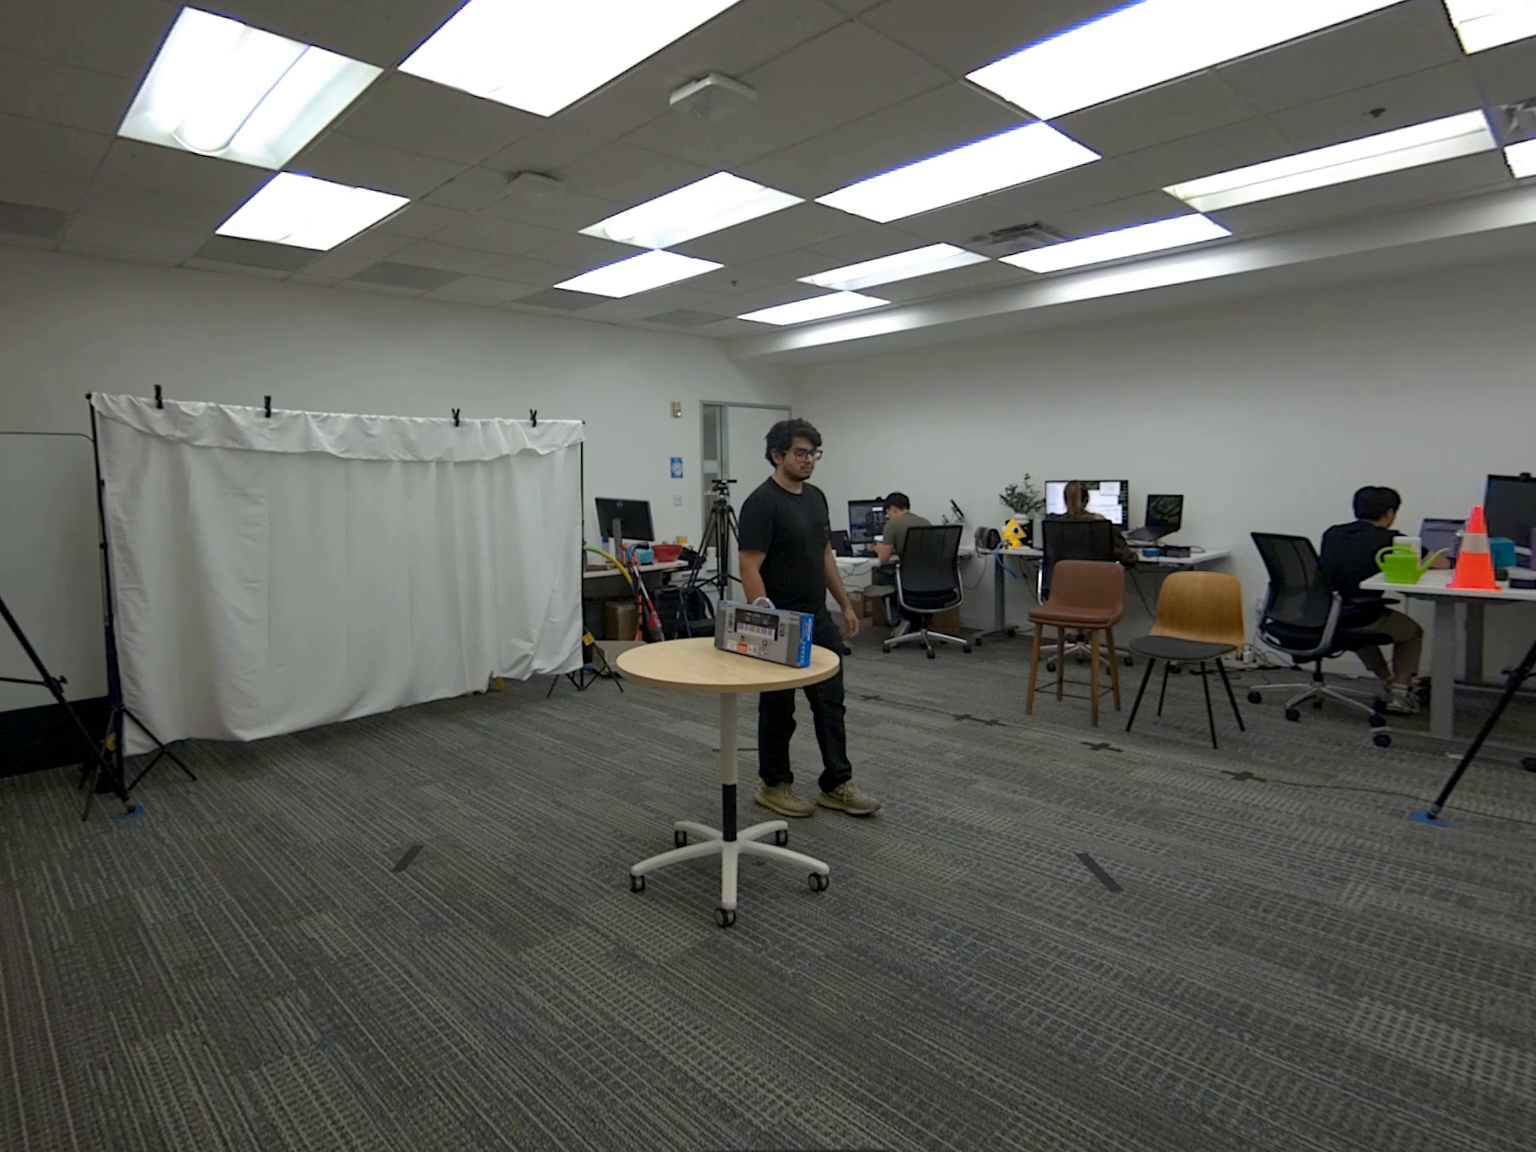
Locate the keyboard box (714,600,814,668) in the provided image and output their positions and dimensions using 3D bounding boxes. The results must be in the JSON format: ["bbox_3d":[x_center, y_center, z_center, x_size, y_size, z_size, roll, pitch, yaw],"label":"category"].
[{"bbox_3d":[-0.023,0.197,2.950,0.057,0.176,0.450,4,2,-41],"label":"keyboard box"}]
